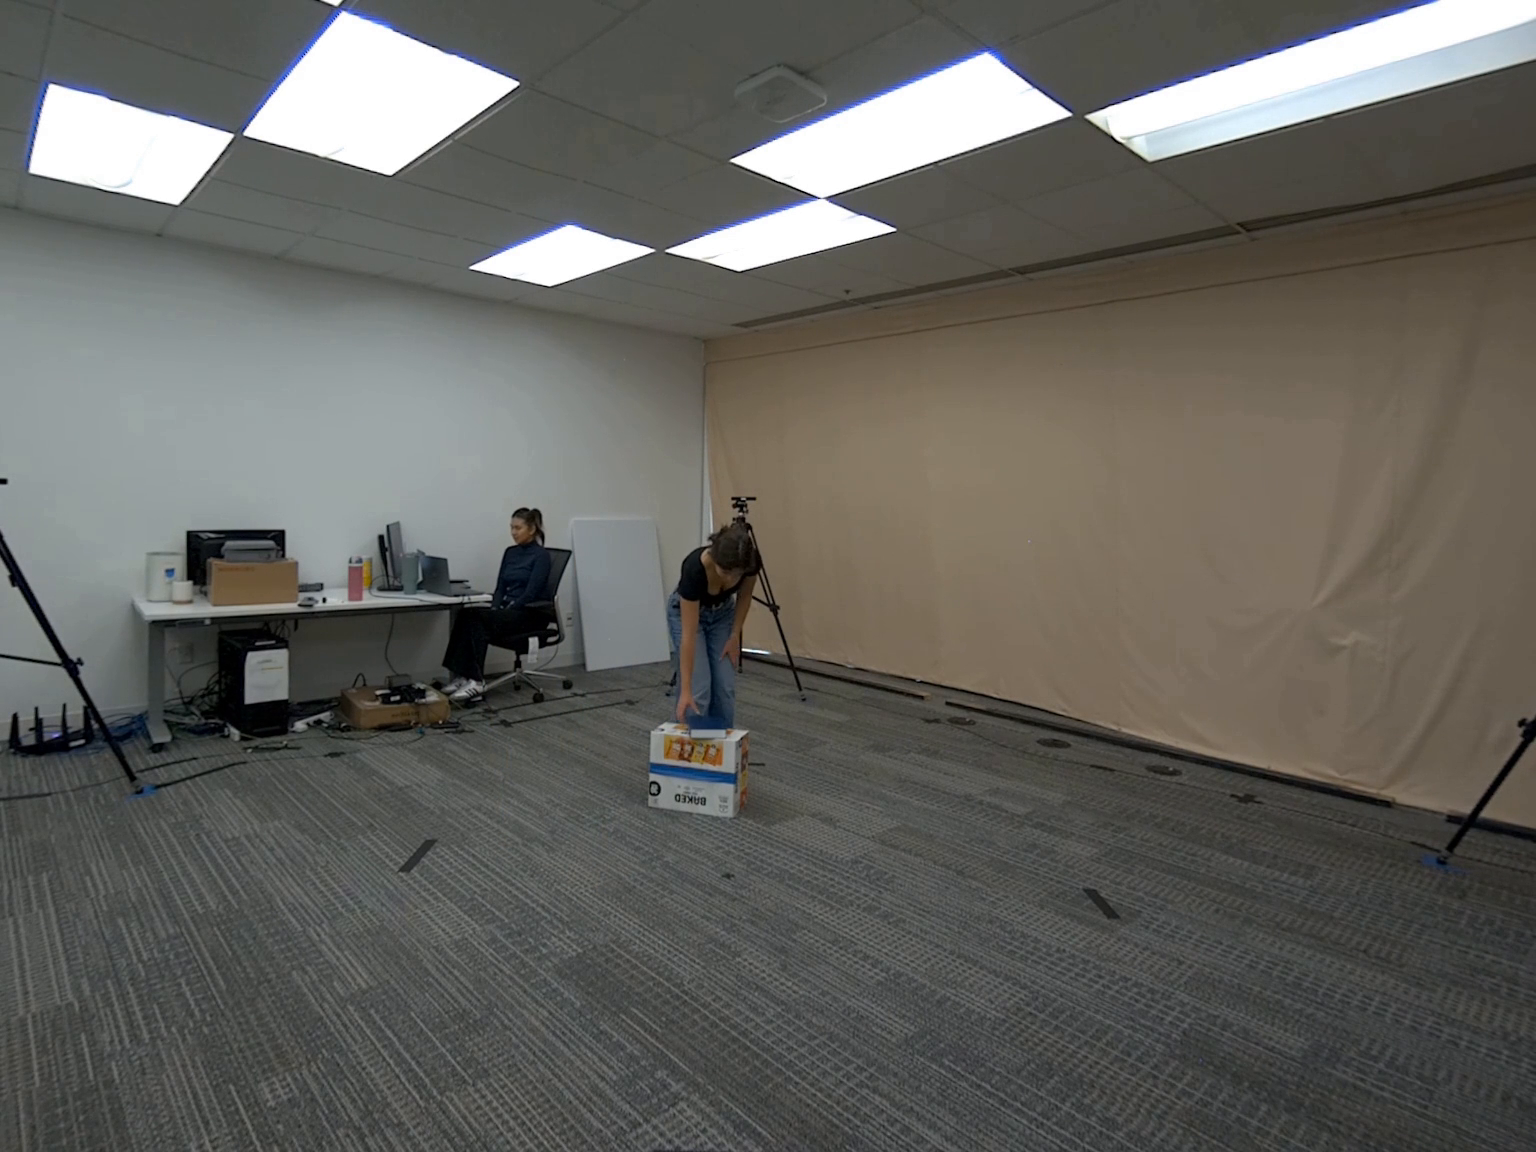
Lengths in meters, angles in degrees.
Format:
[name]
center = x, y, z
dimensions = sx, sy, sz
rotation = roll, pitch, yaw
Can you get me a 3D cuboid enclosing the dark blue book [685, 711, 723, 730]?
[dark blue book]
center = -0.291, 0.687, 3.815
dimensions = 0.162, 0.045, 0.247
rotation = 0, 4, -8
